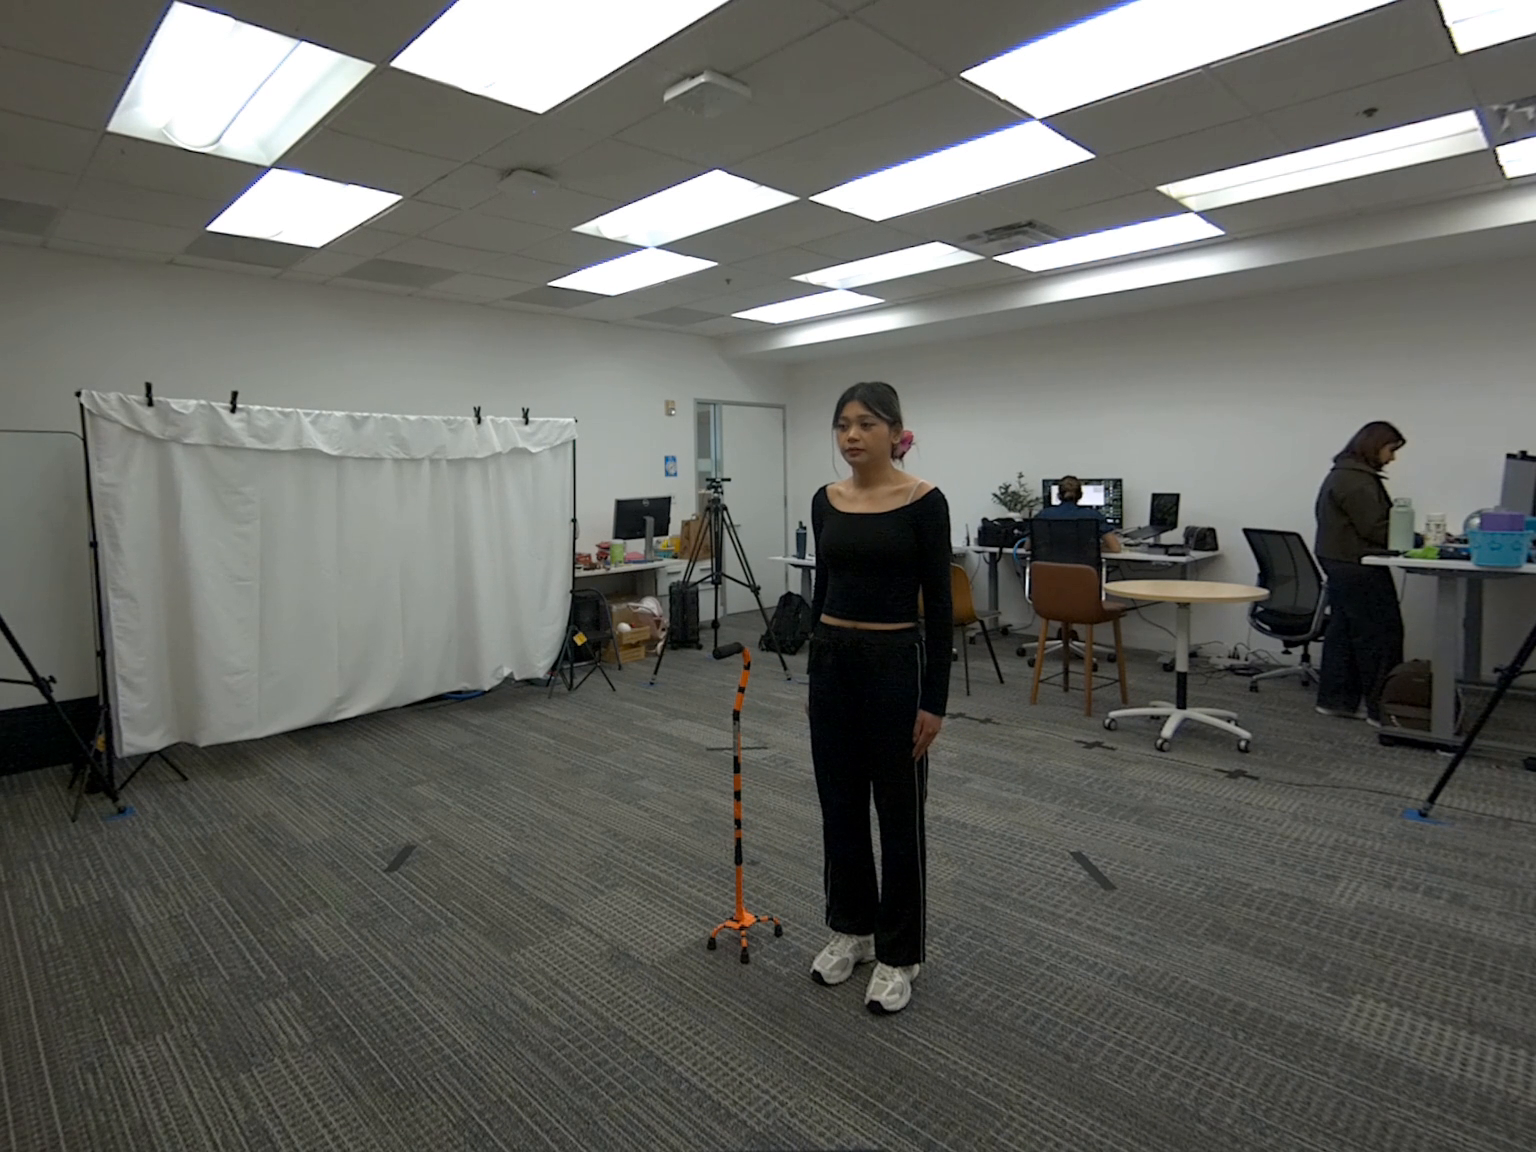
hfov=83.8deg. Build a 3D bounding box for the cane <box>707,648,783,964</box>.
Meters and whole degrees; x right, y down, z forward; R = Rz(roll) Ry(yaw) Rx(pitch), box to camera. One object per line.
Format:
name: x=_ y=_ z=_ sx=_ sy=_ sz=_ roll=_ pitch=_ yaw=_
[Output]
cane: x=-0.067 y=0.654 z=2.550 sx=0.156 sy=0.905 sz=0.201 roll=2 pitch=4 yaw=36
